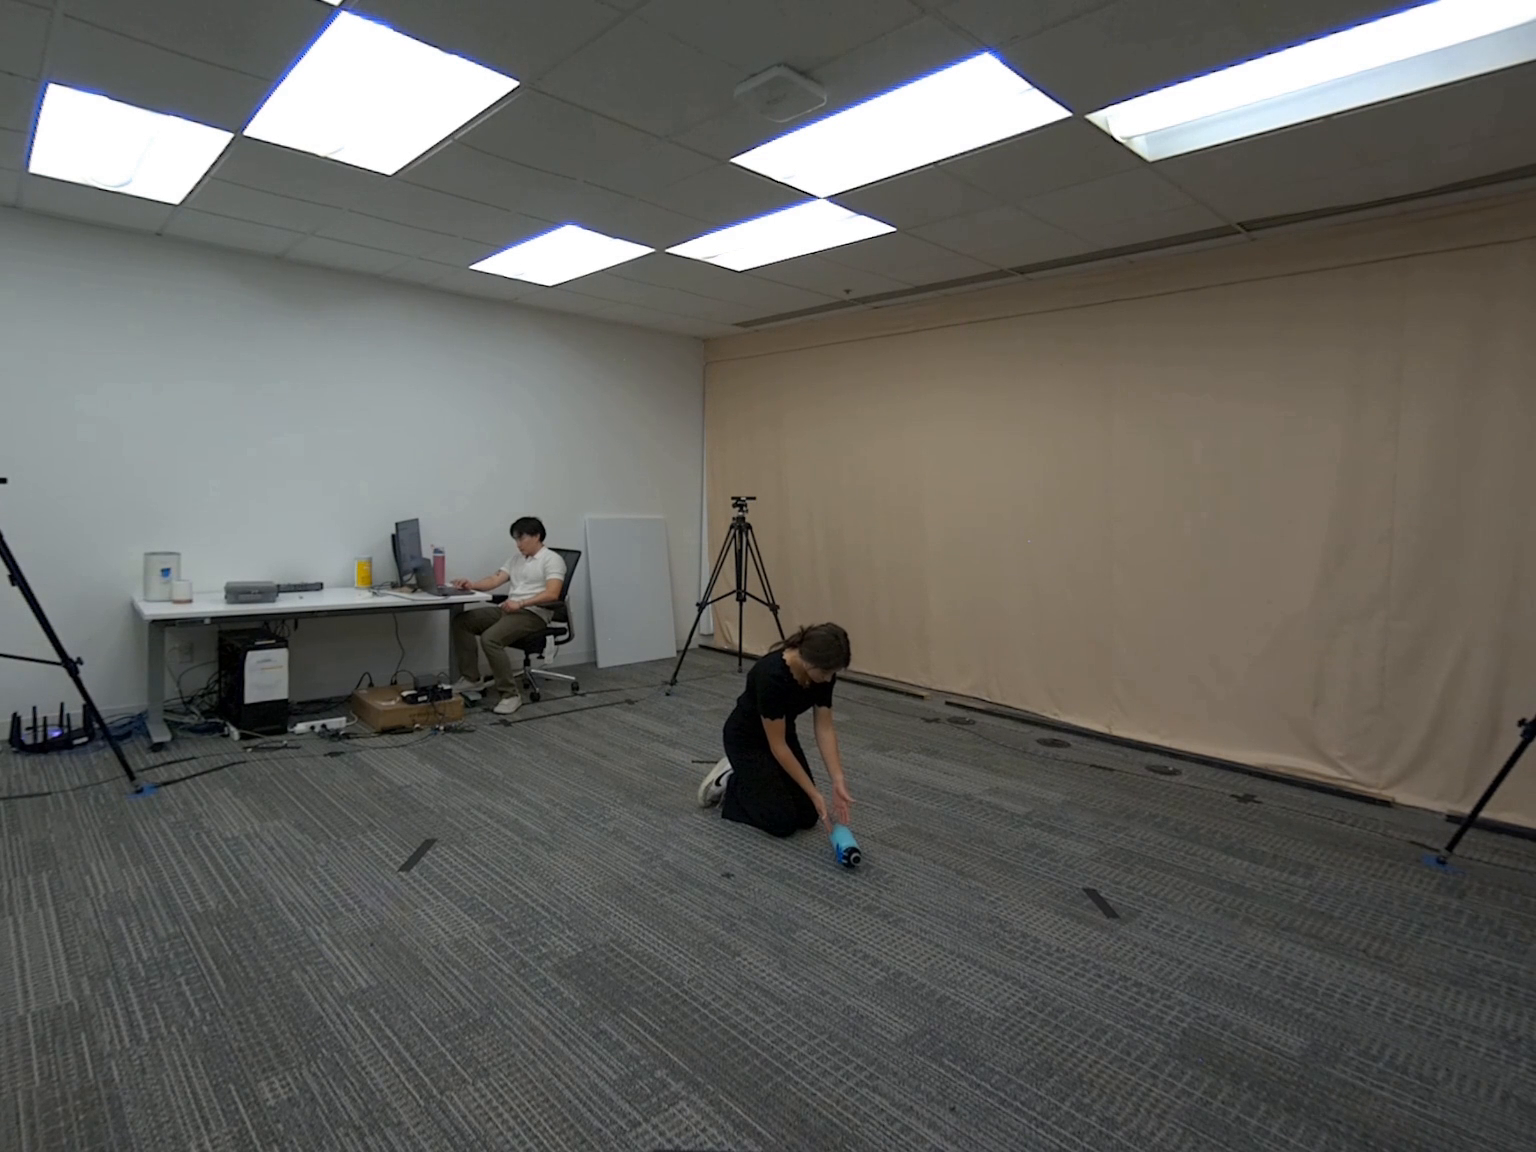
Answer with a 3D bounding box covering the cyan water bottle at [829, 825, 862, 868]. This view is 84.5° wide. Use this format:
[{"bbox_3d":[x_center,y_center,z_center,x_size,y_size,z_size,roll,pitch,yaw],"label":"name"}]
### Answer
[{"bbox_3d":[0.291,1.048,3.268,0.092,0.092,0.284,1,2,-4],"label":"cyan water bottle"}]
